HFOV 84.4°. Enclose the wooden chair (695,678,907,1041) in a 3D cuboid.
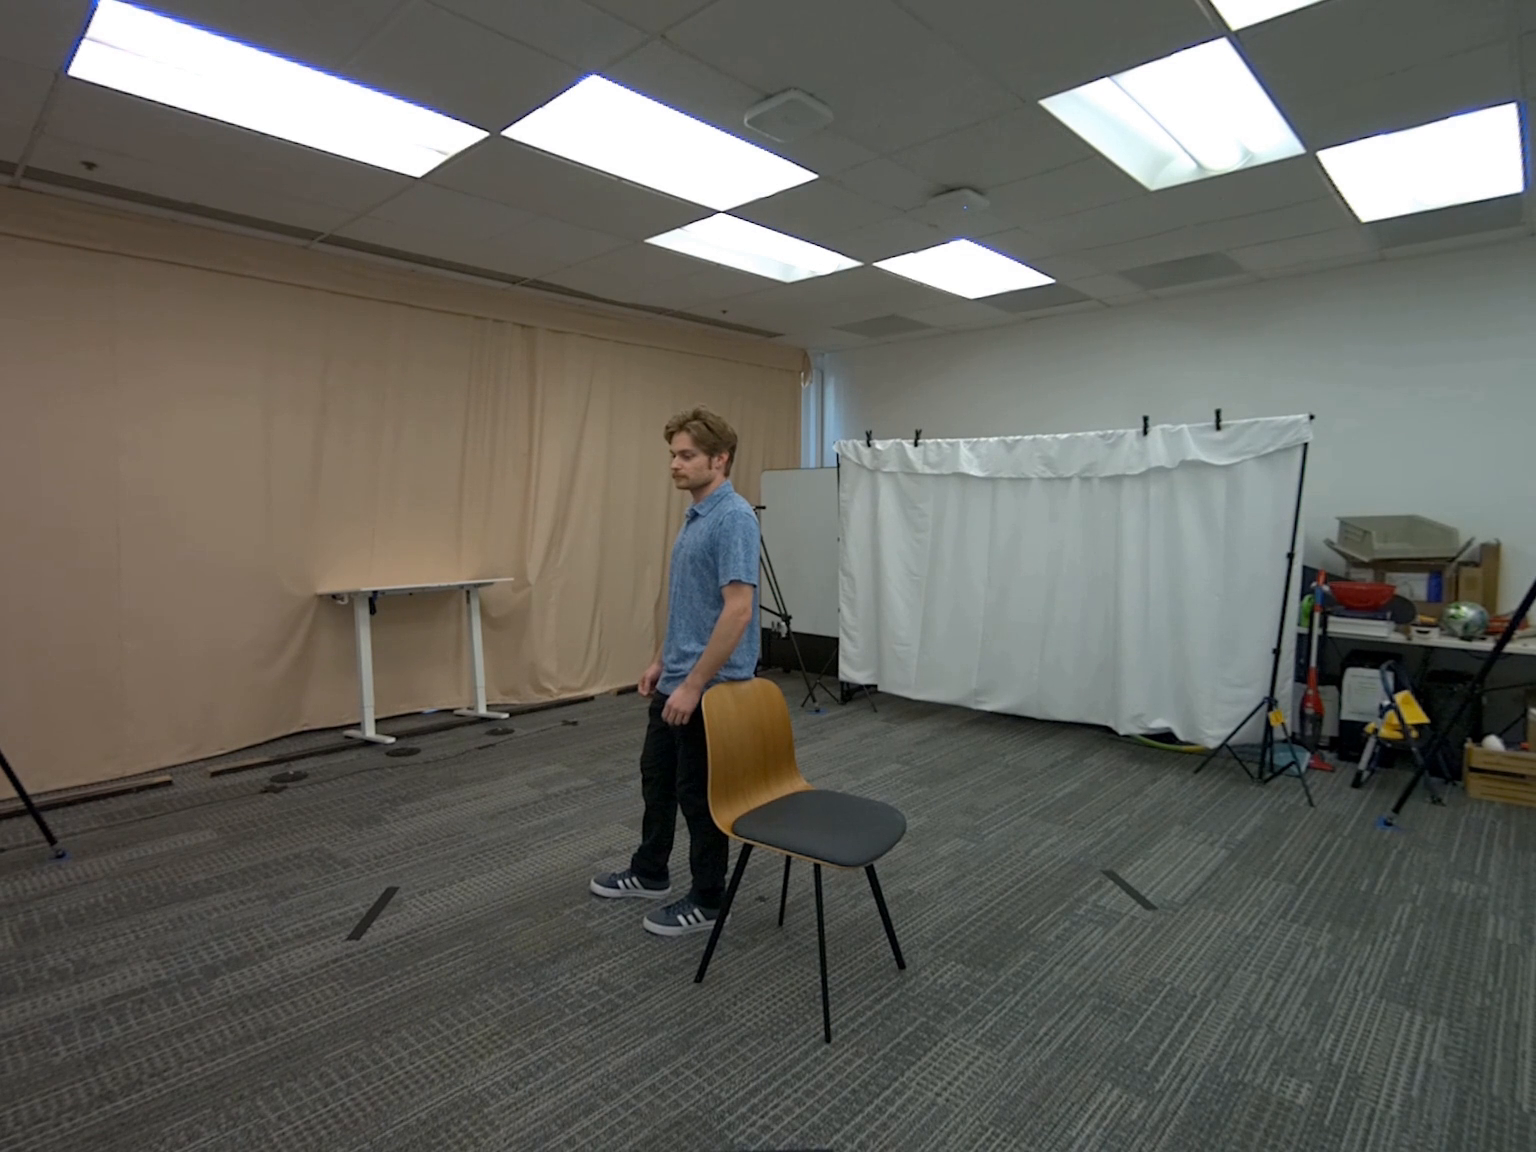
[{"bbox_3d":[0.116,0.760,2.460,0.539,0.877,0.464,-3,0,36],"label":"wooden chair"}]
